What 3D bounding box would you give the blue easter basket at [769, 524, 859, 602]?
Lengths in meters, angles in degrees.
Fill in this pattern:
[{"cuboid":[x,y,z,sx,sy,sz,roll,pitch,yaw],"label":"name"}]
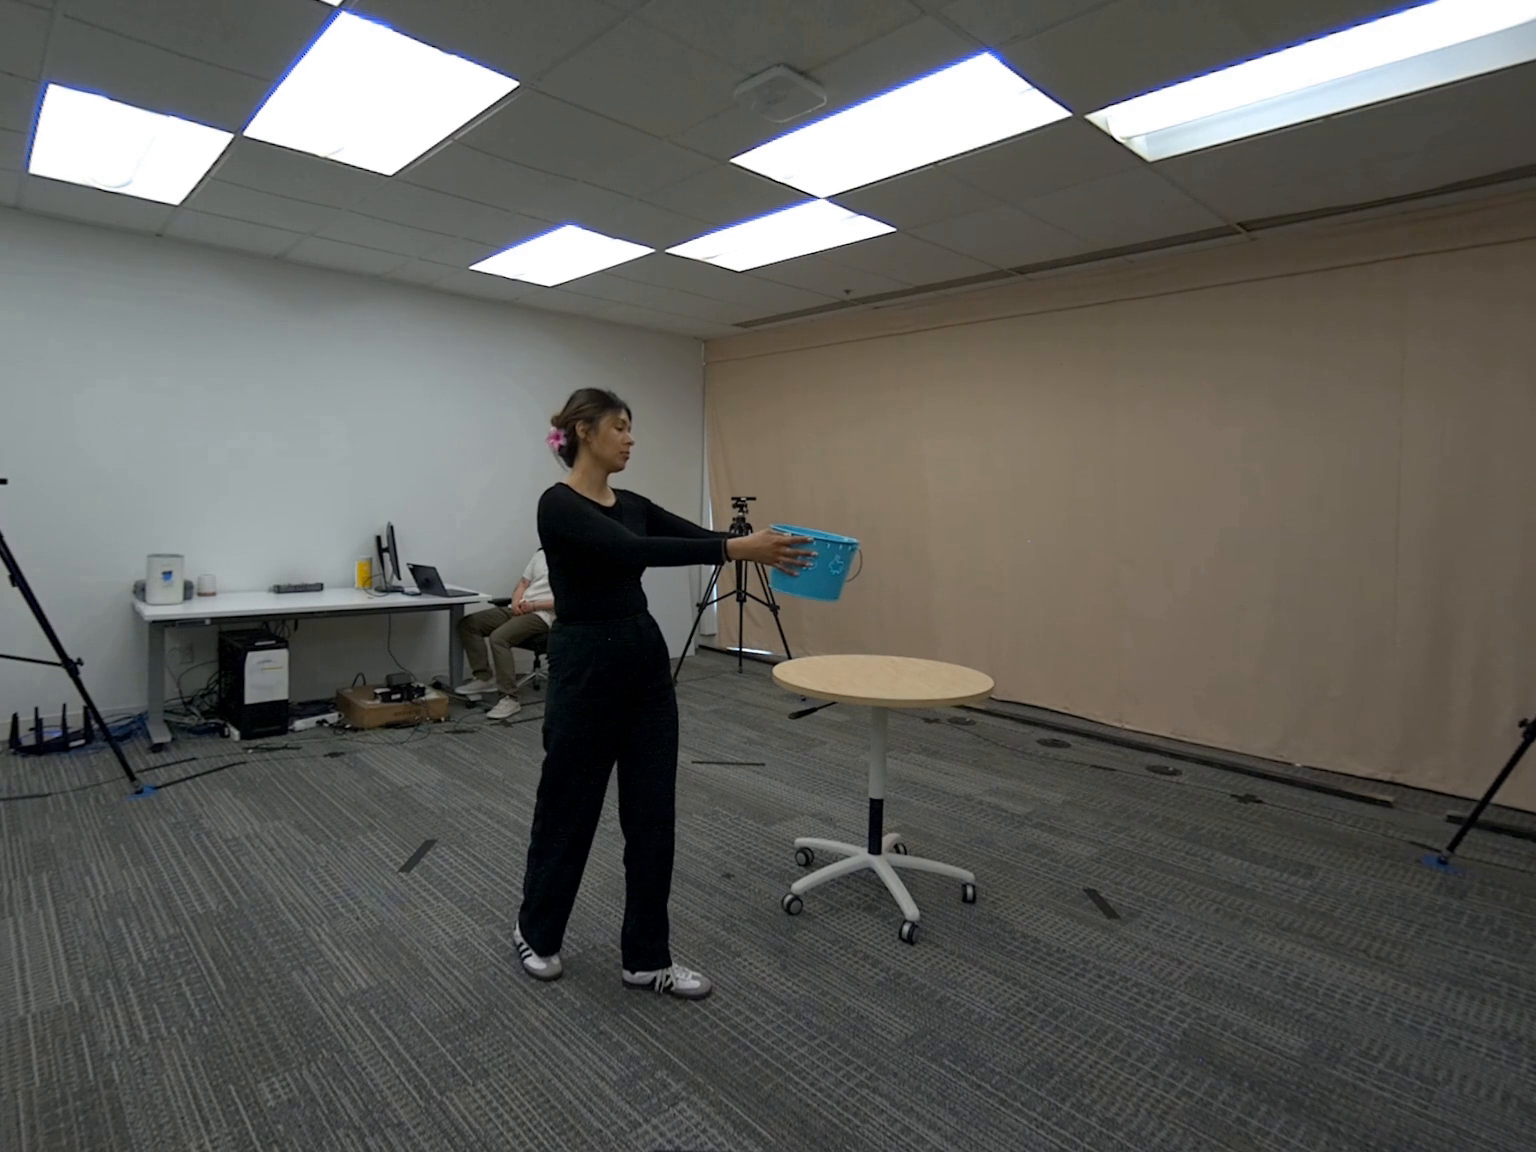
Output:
[{"cuboid":[0.100,-0.033,2.104,0.243,0.155,0.244,10,5,-2],"label":"blue easter basket"}]
